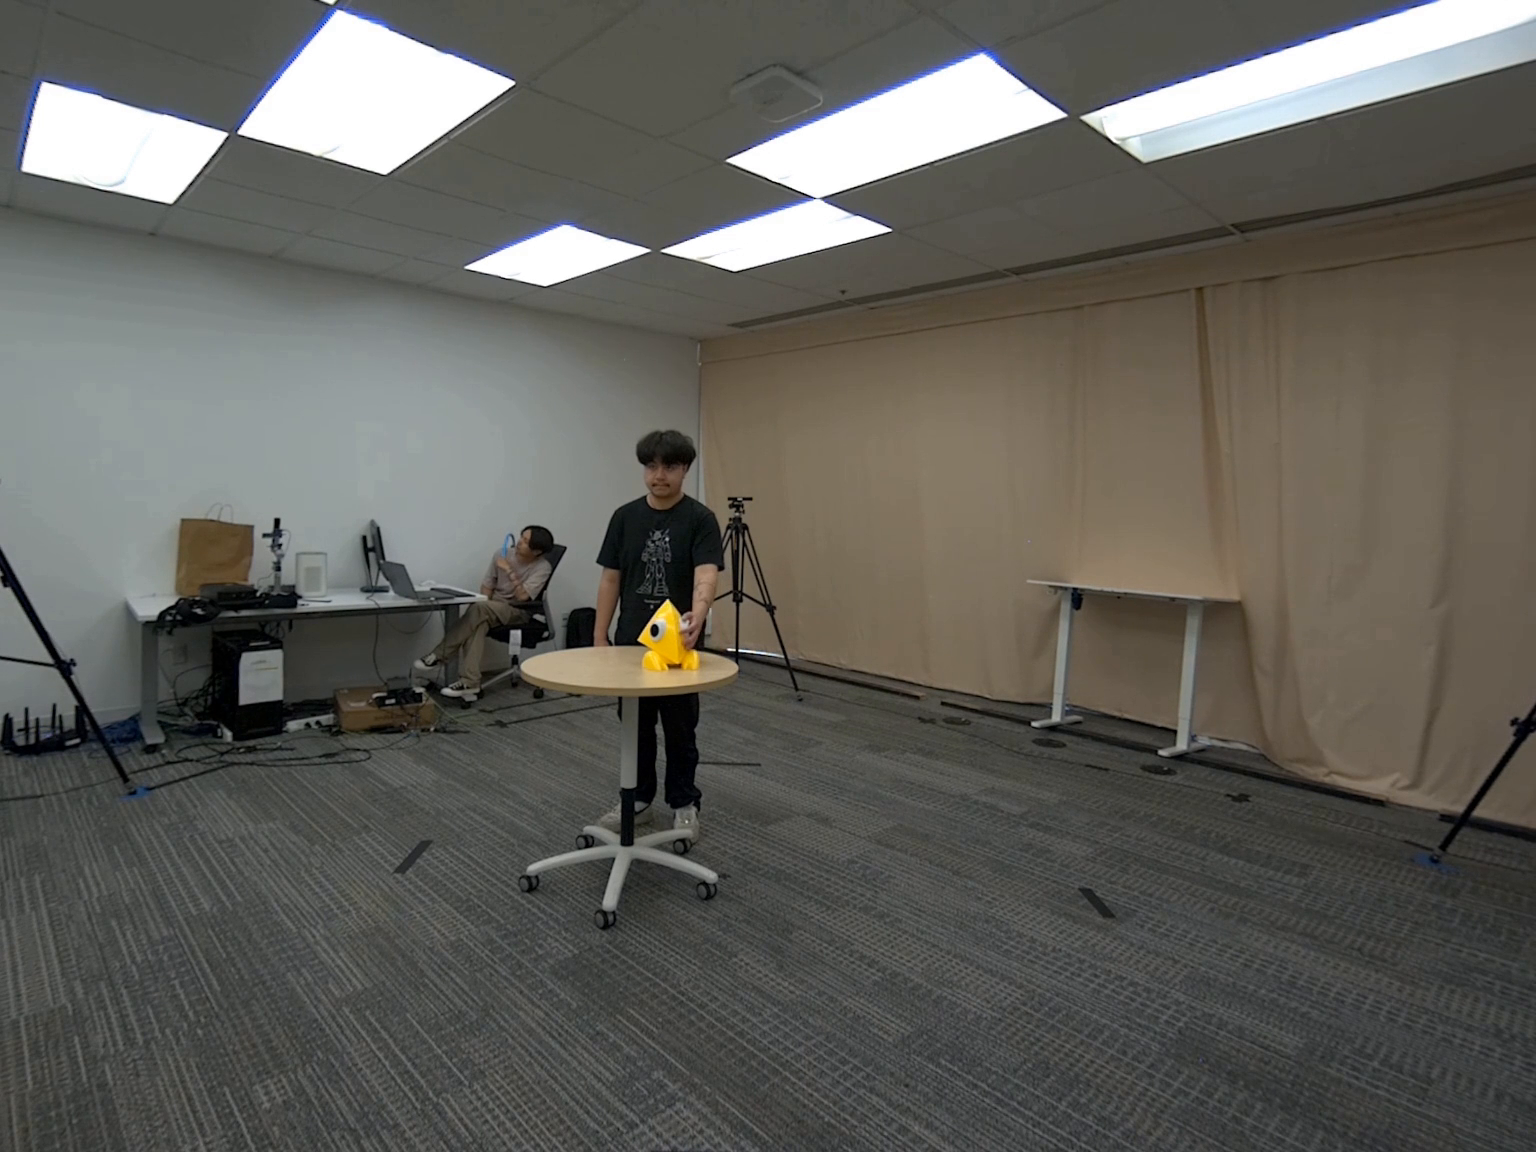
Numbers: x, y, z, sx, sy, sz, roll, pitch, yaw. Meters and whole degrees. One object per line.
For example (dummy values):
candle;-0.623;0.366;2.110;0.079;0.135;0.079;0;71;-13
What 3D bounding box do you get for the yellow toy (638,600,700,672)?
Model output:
yellow toy;-0.366;0.207;2.996;0.201;0.230;0.197;1;4;-22
